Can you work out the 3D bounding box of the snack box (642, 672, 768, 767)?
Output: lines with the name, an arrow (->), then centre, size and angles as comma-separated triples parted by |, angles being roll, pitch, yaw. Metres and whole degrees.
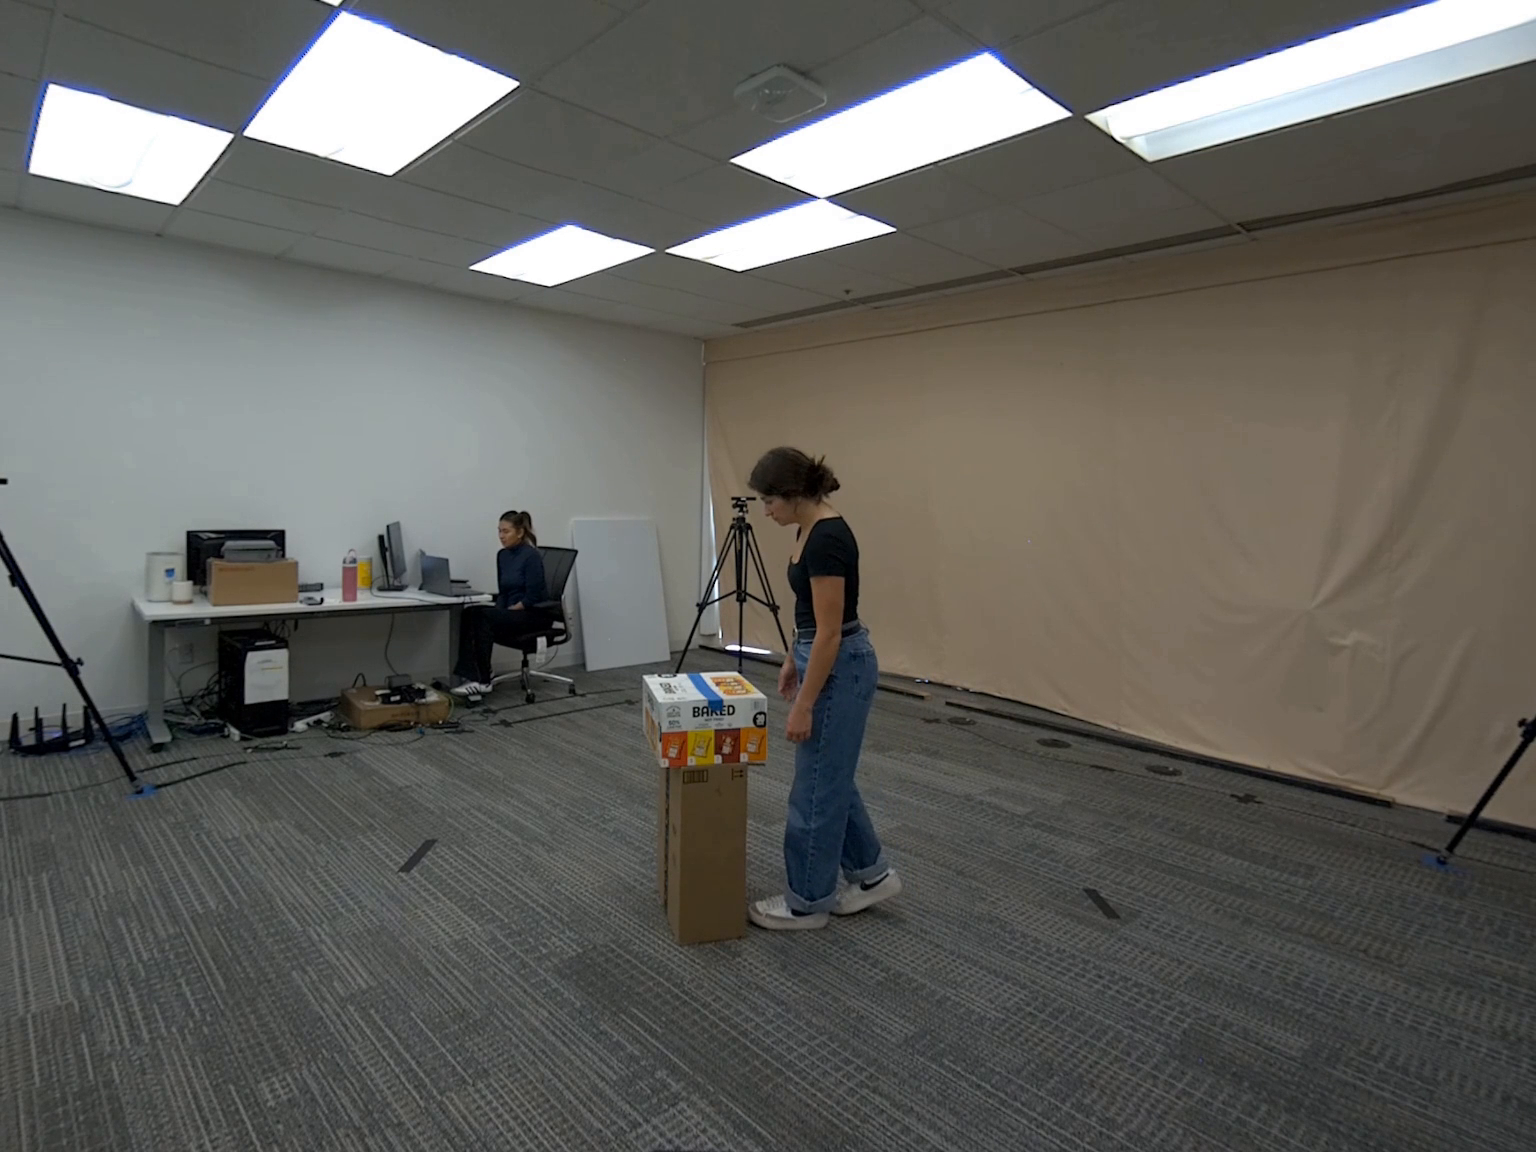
snack box -> -0.223, 0.463, 2.794 | 0.336, 0.205, 0.411 | 0, 5, -15
